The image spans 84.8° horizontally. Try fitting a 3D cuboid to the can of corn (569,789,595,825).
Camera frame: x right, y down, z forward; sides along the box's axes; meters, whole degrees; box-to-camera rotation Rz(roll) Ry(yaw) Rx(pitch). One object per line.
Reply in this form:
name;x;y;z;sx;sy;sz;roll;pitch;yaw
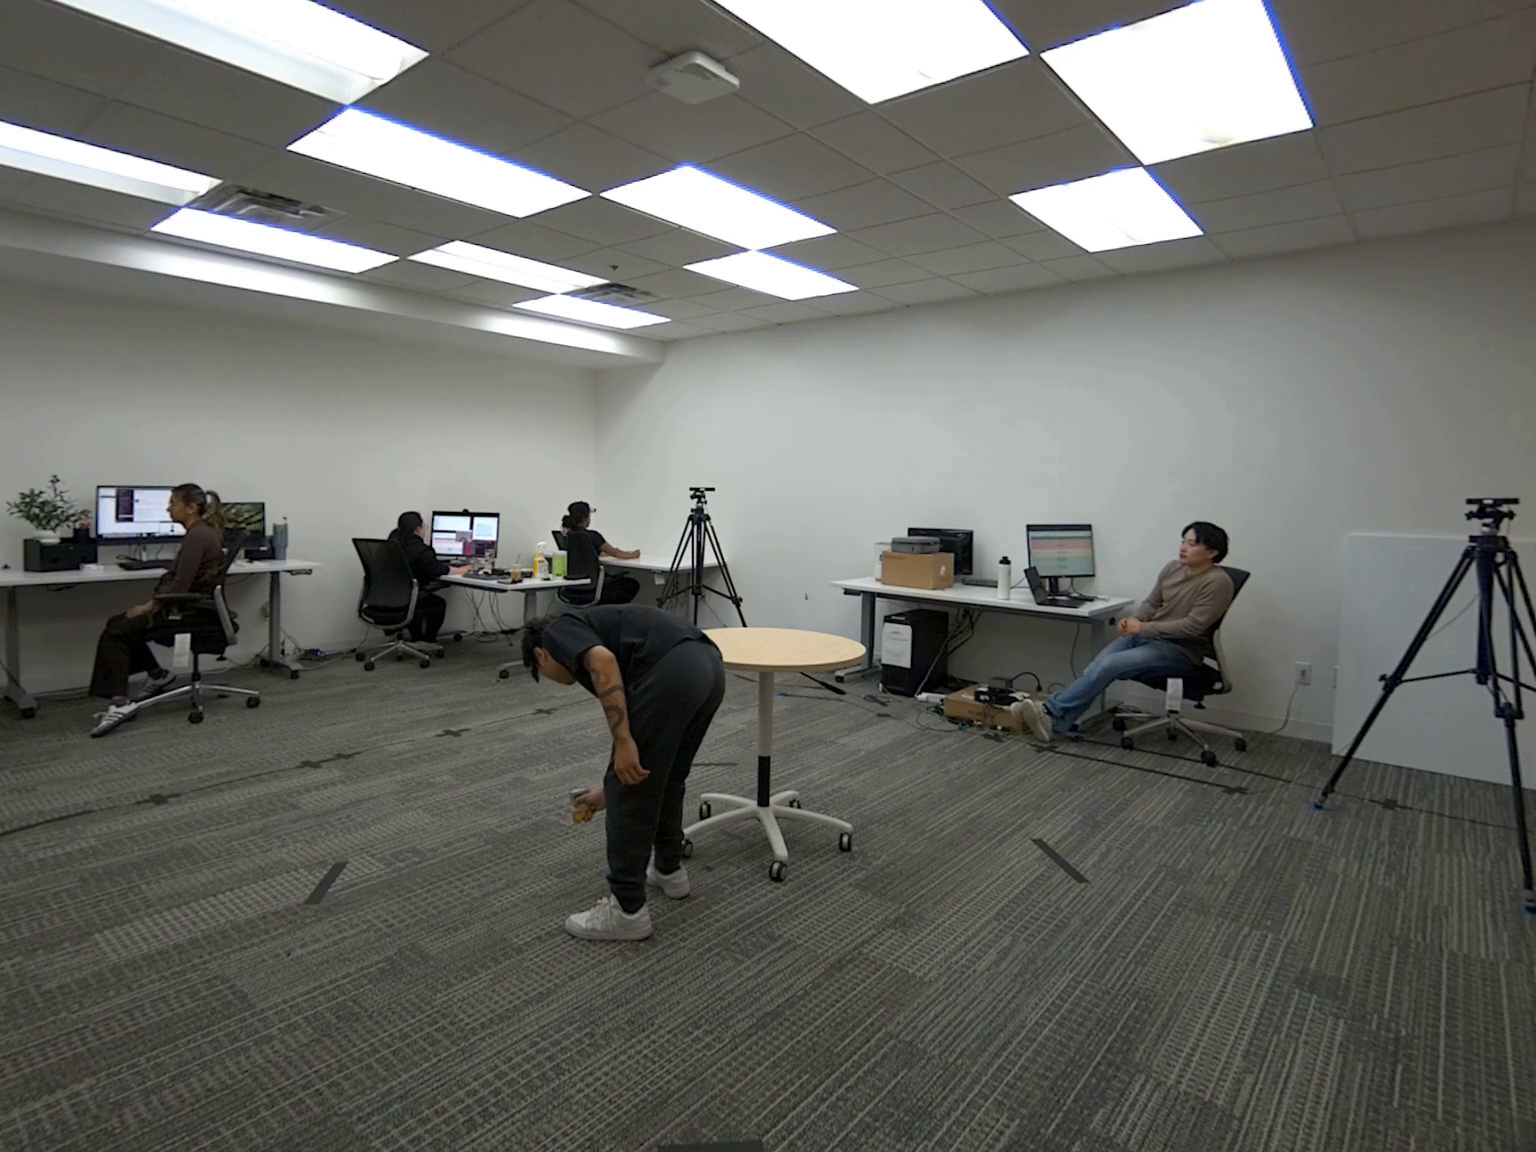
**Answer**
can of corn;-0.711;0.843;3.154;0.074;0.111;0.074;-7;-1;-2
